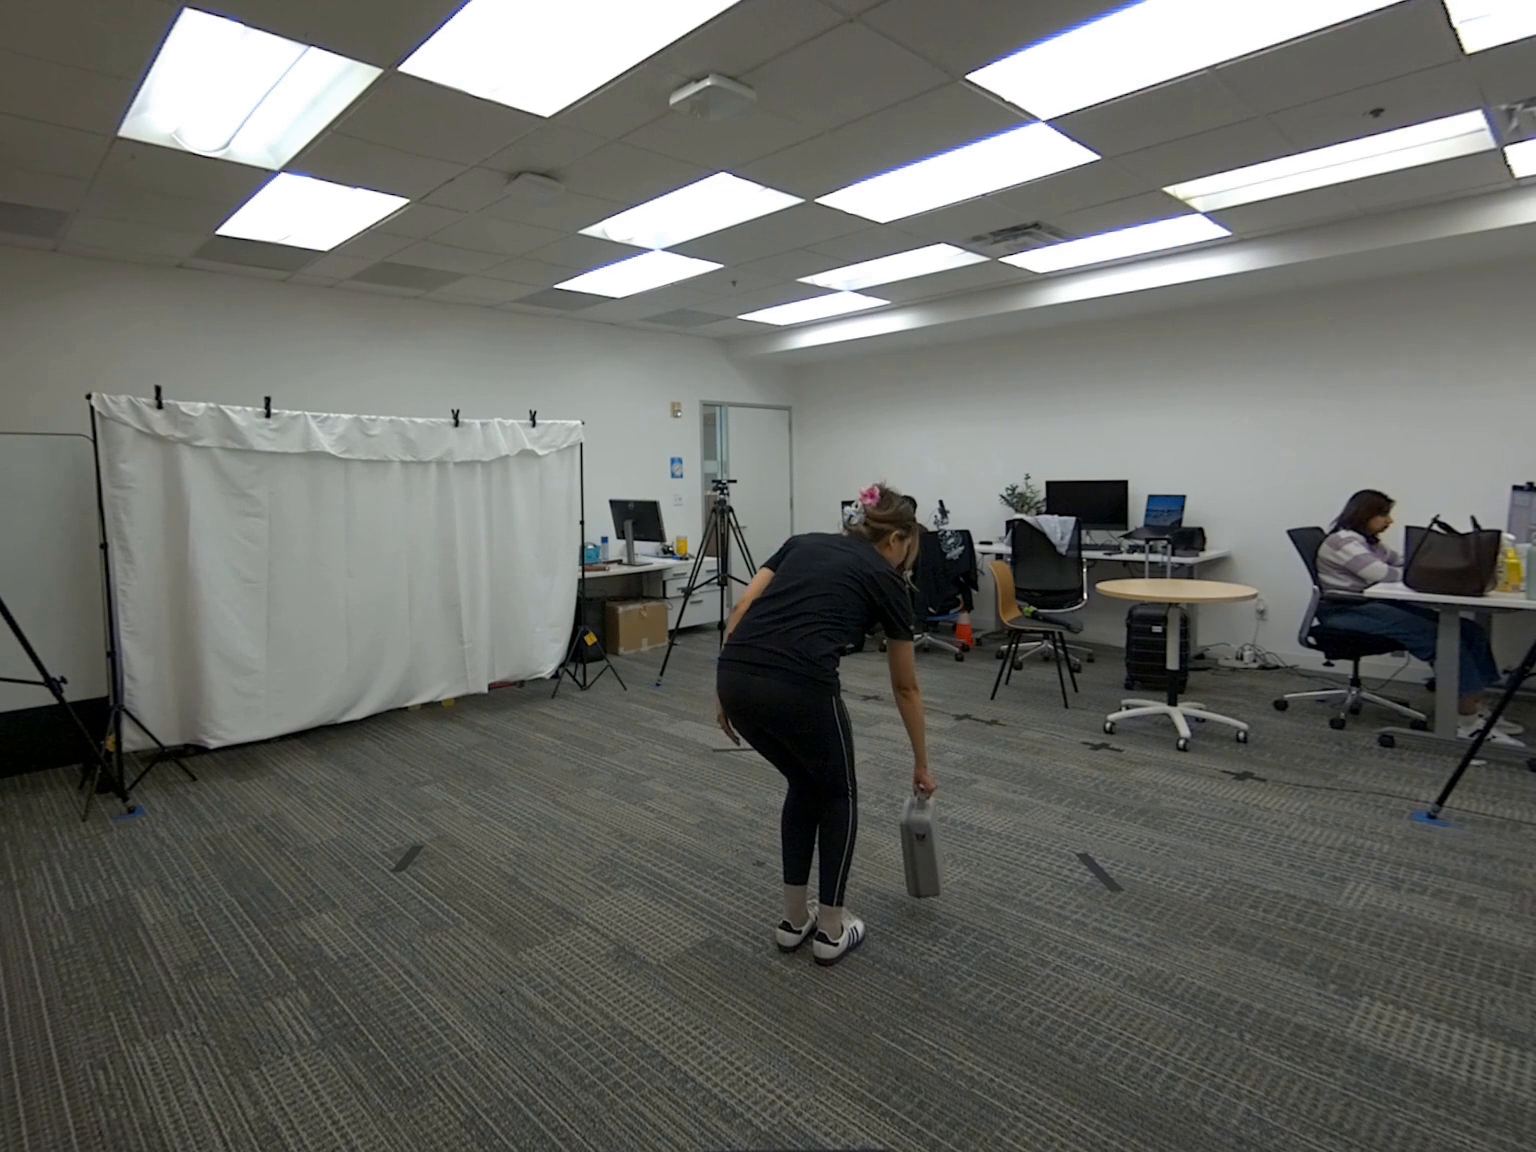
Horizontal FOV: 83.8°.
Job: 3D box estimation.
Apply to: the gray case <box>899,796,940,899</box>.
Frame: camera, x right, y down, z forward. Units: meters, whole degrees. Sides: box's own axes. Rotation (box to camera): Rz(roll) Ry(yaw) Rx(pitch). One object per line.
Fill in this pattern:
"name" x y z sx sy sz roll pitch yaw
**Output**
"gray case" 0.498 0.844 2.728 0.106 0.260 0.254 -5 3 14
